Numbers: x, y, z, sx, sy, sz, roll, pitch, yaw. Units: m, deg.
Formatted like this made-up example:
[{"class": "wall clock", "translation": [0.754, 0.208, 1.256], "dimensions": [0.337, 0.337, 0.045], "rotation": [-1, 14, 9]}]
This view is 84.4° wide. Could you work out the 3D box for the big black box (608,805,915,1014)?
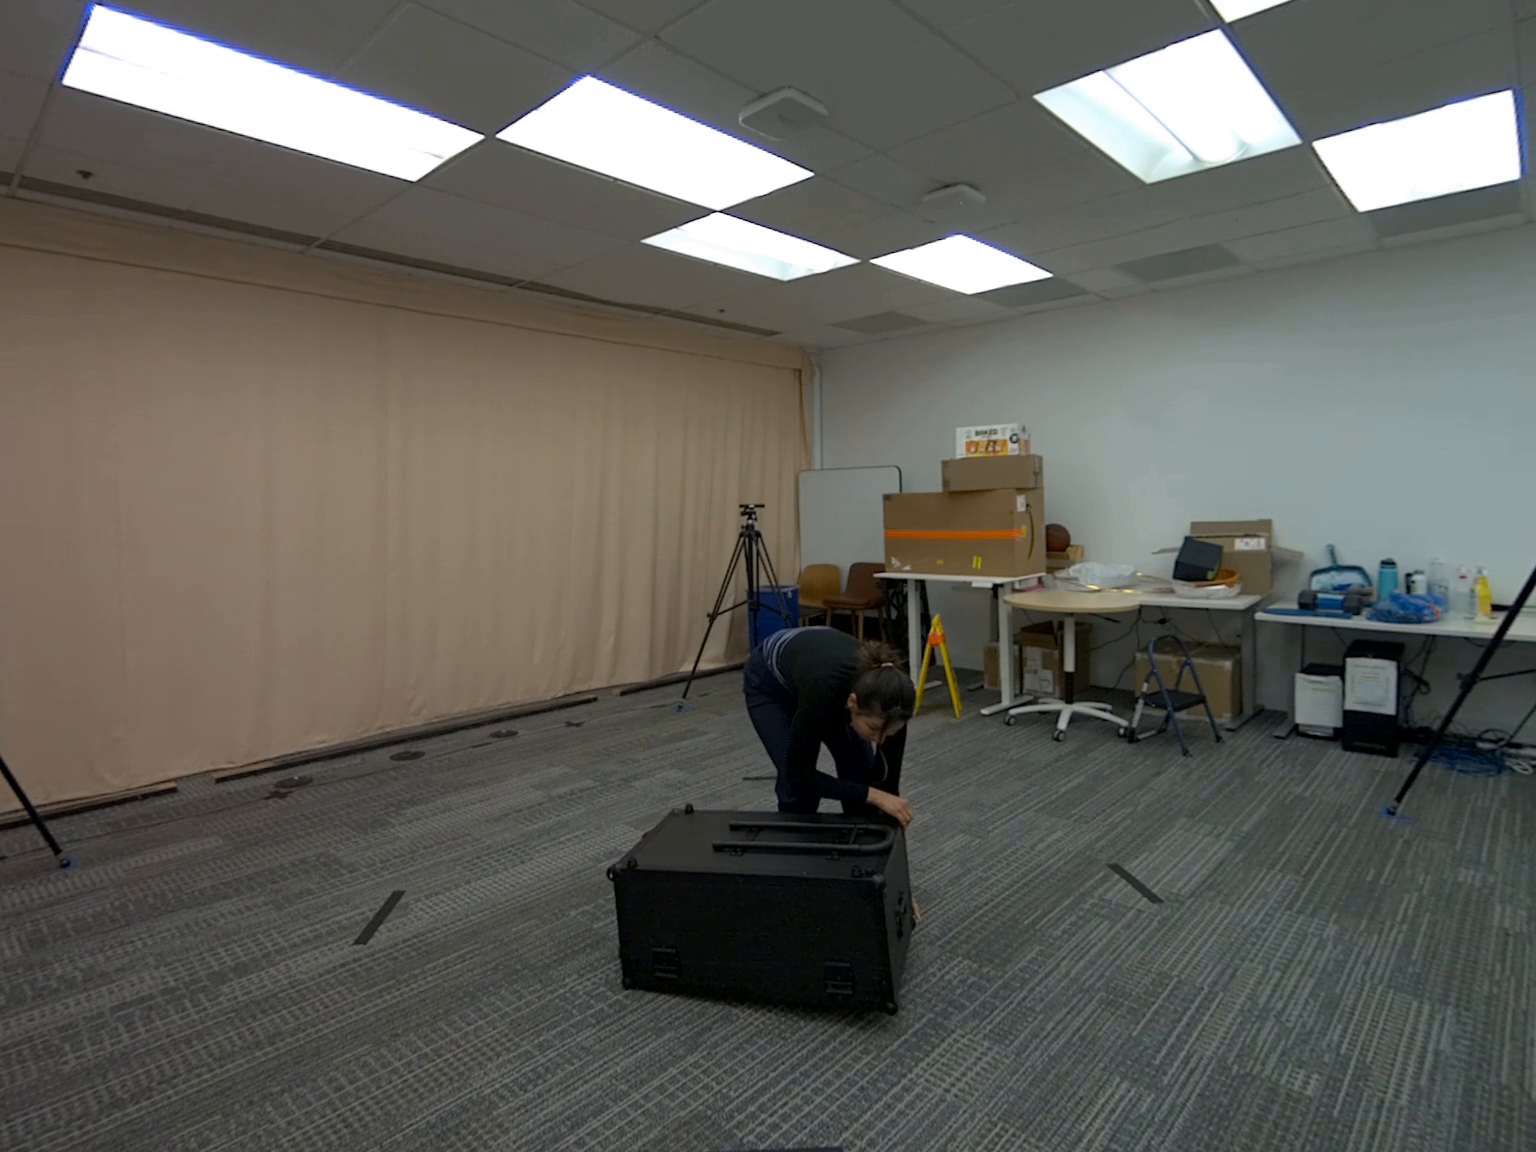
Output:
[{"class": "big black box", "translation": [-0.039, 0.956, 2.531], "dimensions": [0.877, 0.395, 0.513], "rotation": [-5, 3, 18]}]
